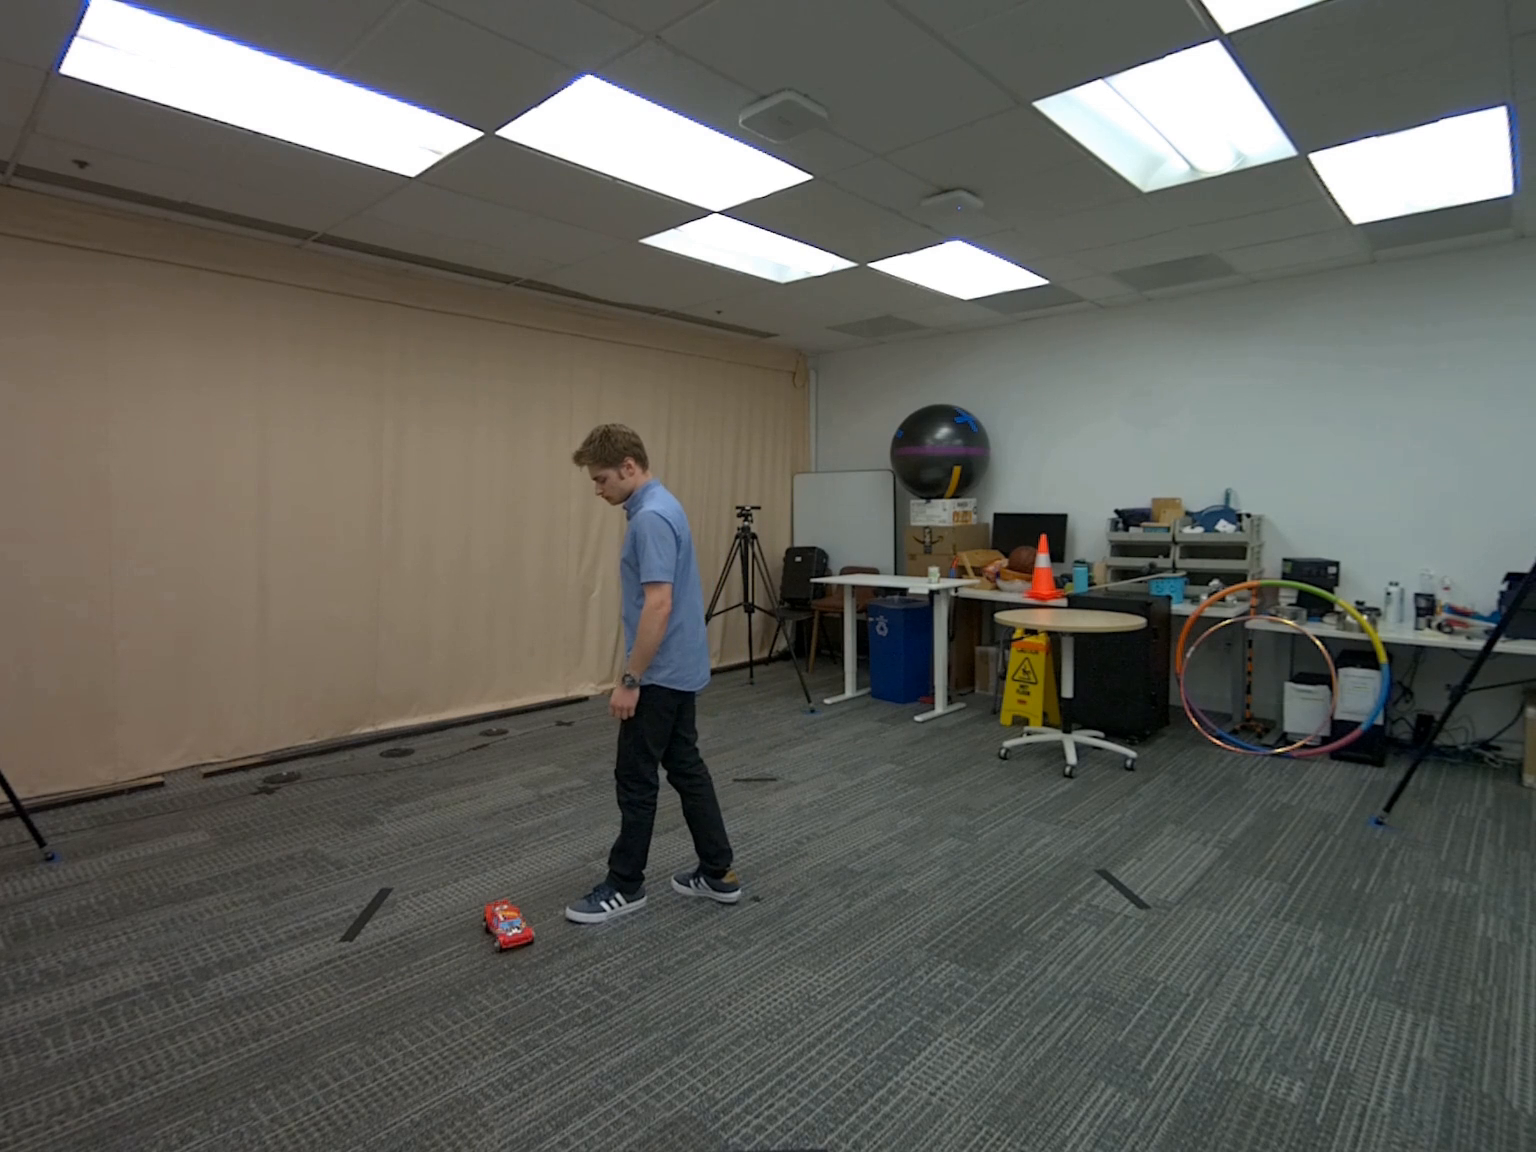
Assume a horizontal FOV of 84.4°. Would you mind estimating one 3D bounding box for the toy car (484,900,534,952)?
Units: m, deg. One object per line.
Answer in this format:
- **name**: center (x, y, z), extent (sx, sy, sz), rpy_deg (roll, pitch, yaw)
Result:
- **toy car**: center (-0.855, 1.141, 2.741), extent (0.127, 0.082, 0.263), rpy_deg (-4, 16, -31)
